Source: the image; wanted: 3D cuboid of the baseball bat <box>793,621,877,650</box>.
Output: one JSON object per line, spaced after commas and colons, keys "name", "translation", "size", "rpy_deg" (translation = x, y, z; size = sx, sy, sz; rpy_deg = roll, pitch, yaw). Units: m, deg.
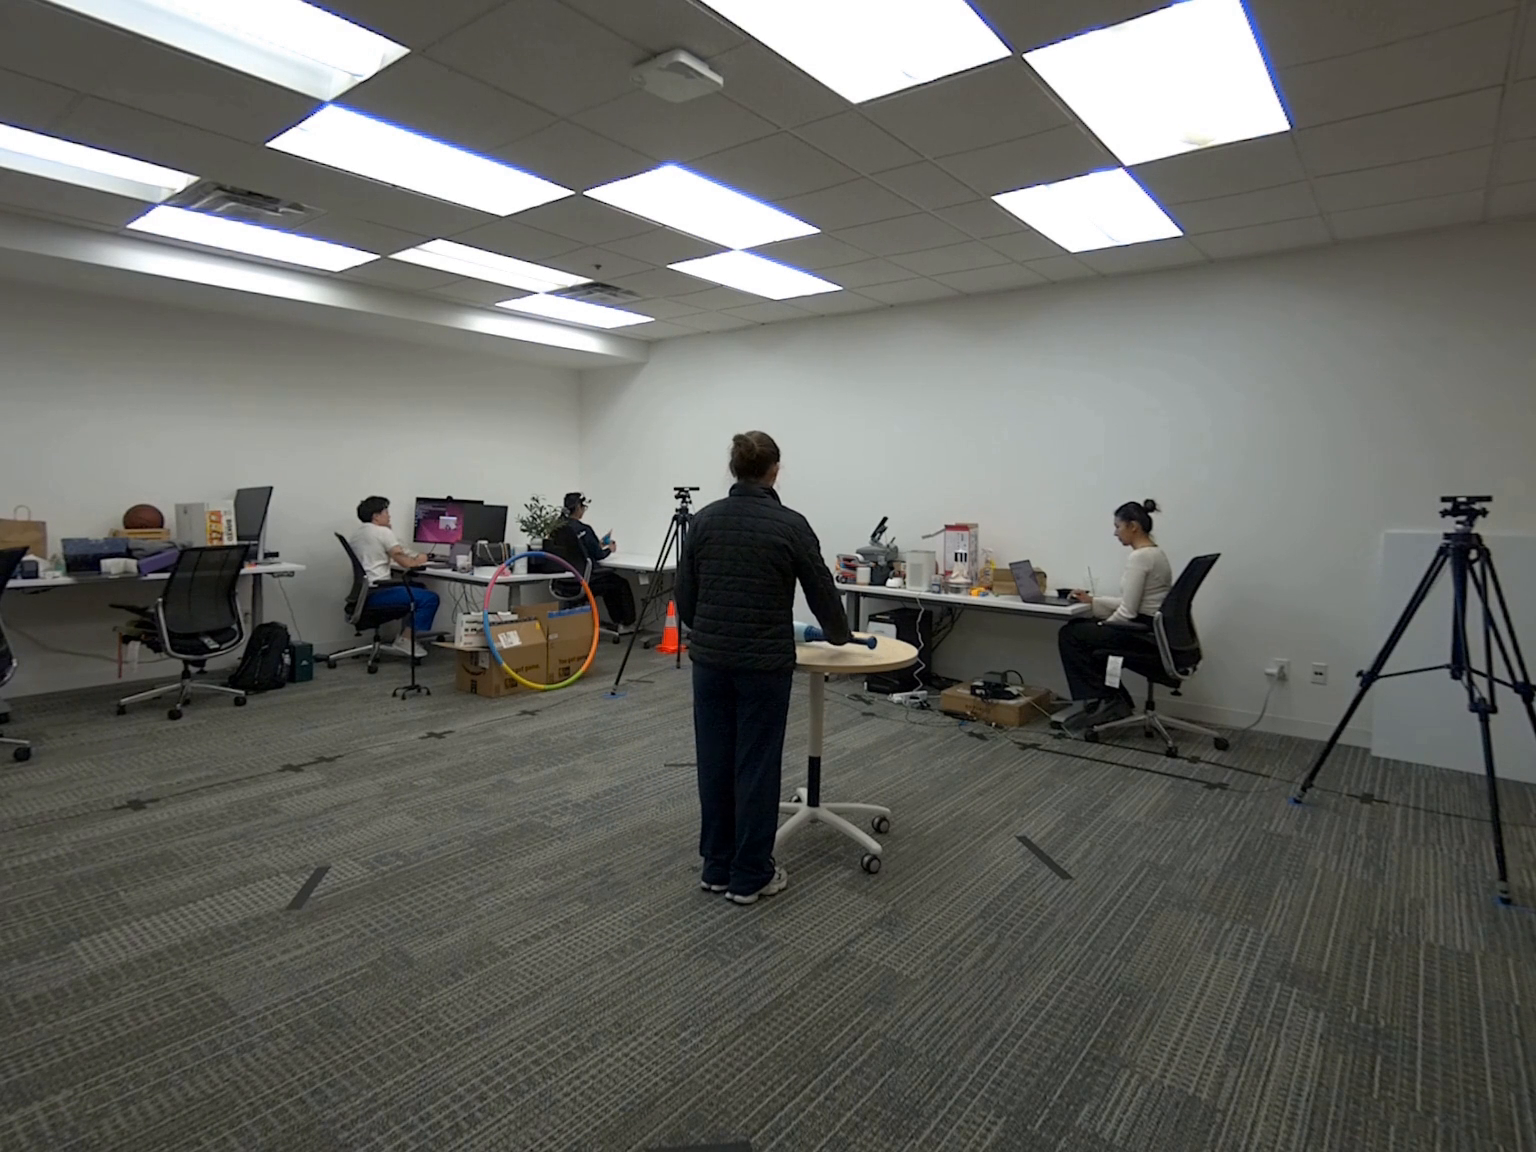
{"name": "baseball bat", "translation": [0.199, 0.212, 3.309], "size": [0.562, 0.088, 0.086], "rpy_deg": [8, 8, 38]}
